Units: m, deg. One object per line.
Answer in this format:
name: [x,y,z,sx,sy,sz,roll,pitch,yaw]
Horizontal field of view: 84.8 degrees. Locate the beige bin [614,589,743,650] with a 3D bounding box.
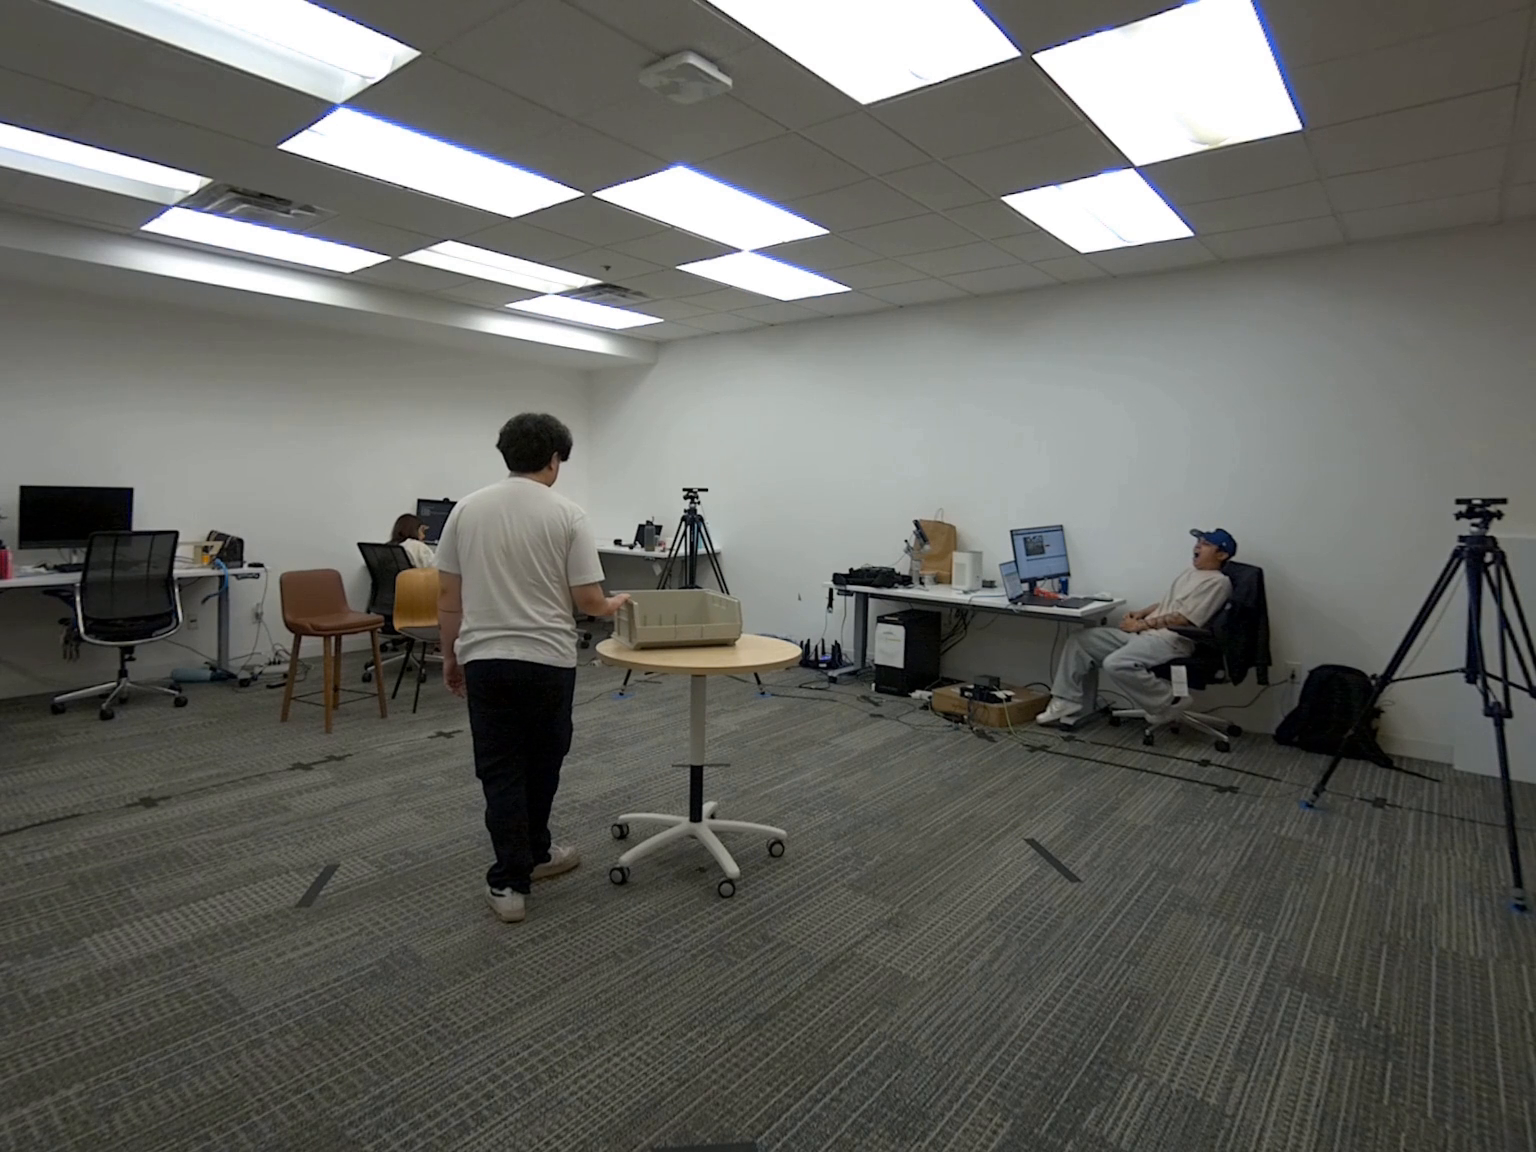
beige bin: [-0.371,0.164,3.290,0.413,0.188,0.387,-2,4,-23]
